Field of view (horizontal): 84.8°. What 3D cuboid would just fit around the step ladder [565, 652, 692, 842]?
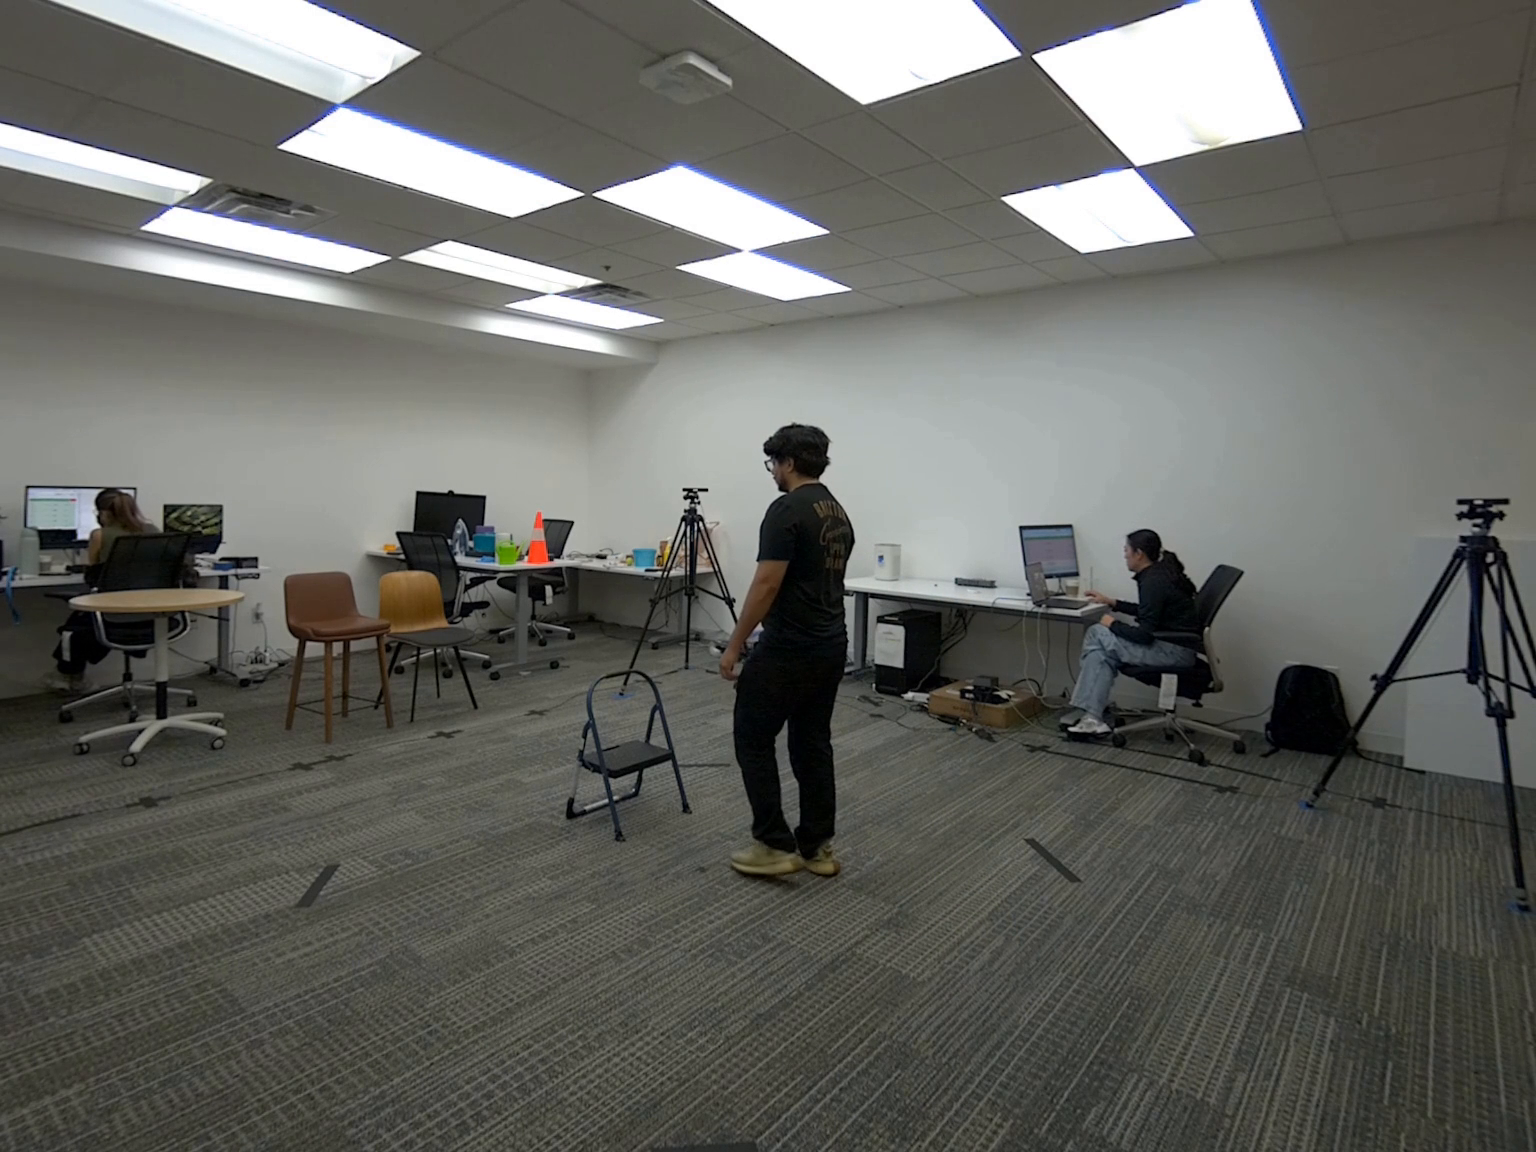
[{"bbox_3d":[-0.596,0.714,3.599,0.361,0.605,0.418,3,4,38],"label":"step ladder"}]
